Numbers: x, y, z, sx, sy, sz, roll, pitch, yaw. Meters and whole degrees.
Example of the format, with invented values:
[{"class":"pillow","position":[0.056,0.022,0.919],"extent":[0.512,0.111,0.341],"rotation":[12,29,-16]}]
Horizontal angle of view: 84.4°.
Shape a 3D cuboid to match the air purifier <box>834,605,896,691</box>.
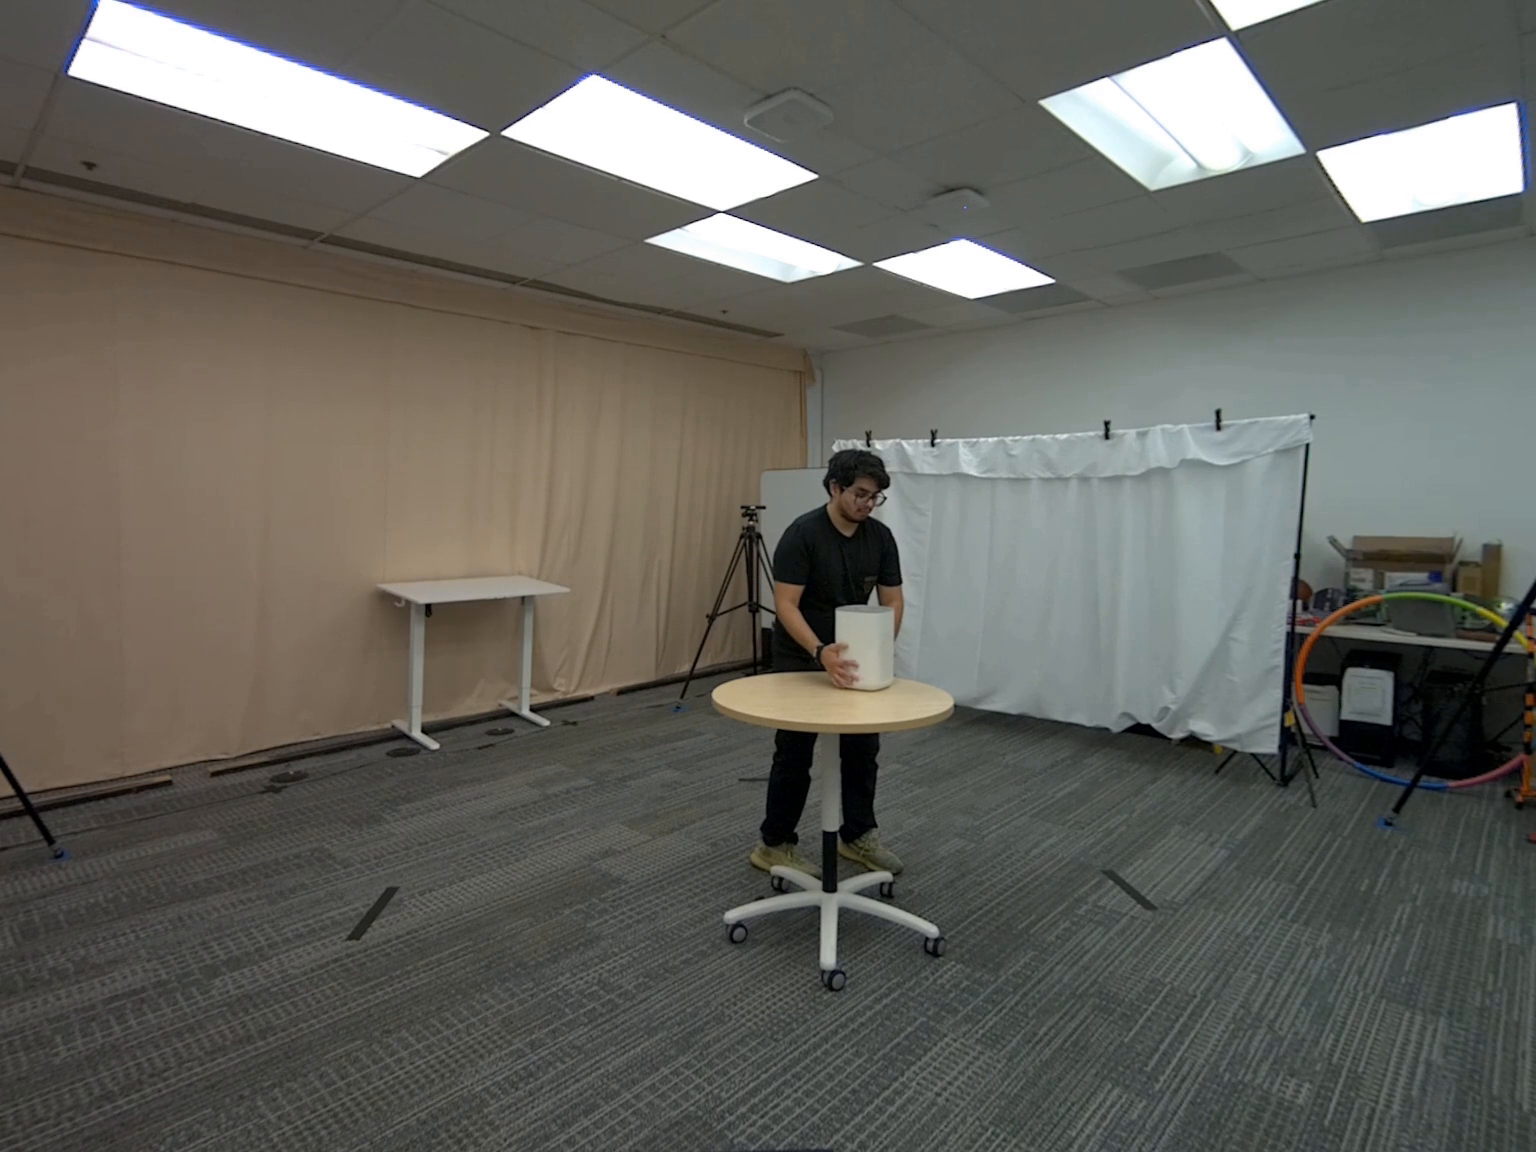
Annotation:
[{"class":"air purifier","position":[0.326,0.238,2.831],"extent":[0.176,0.265,0.167],"rotation":[2,4,33]}]
